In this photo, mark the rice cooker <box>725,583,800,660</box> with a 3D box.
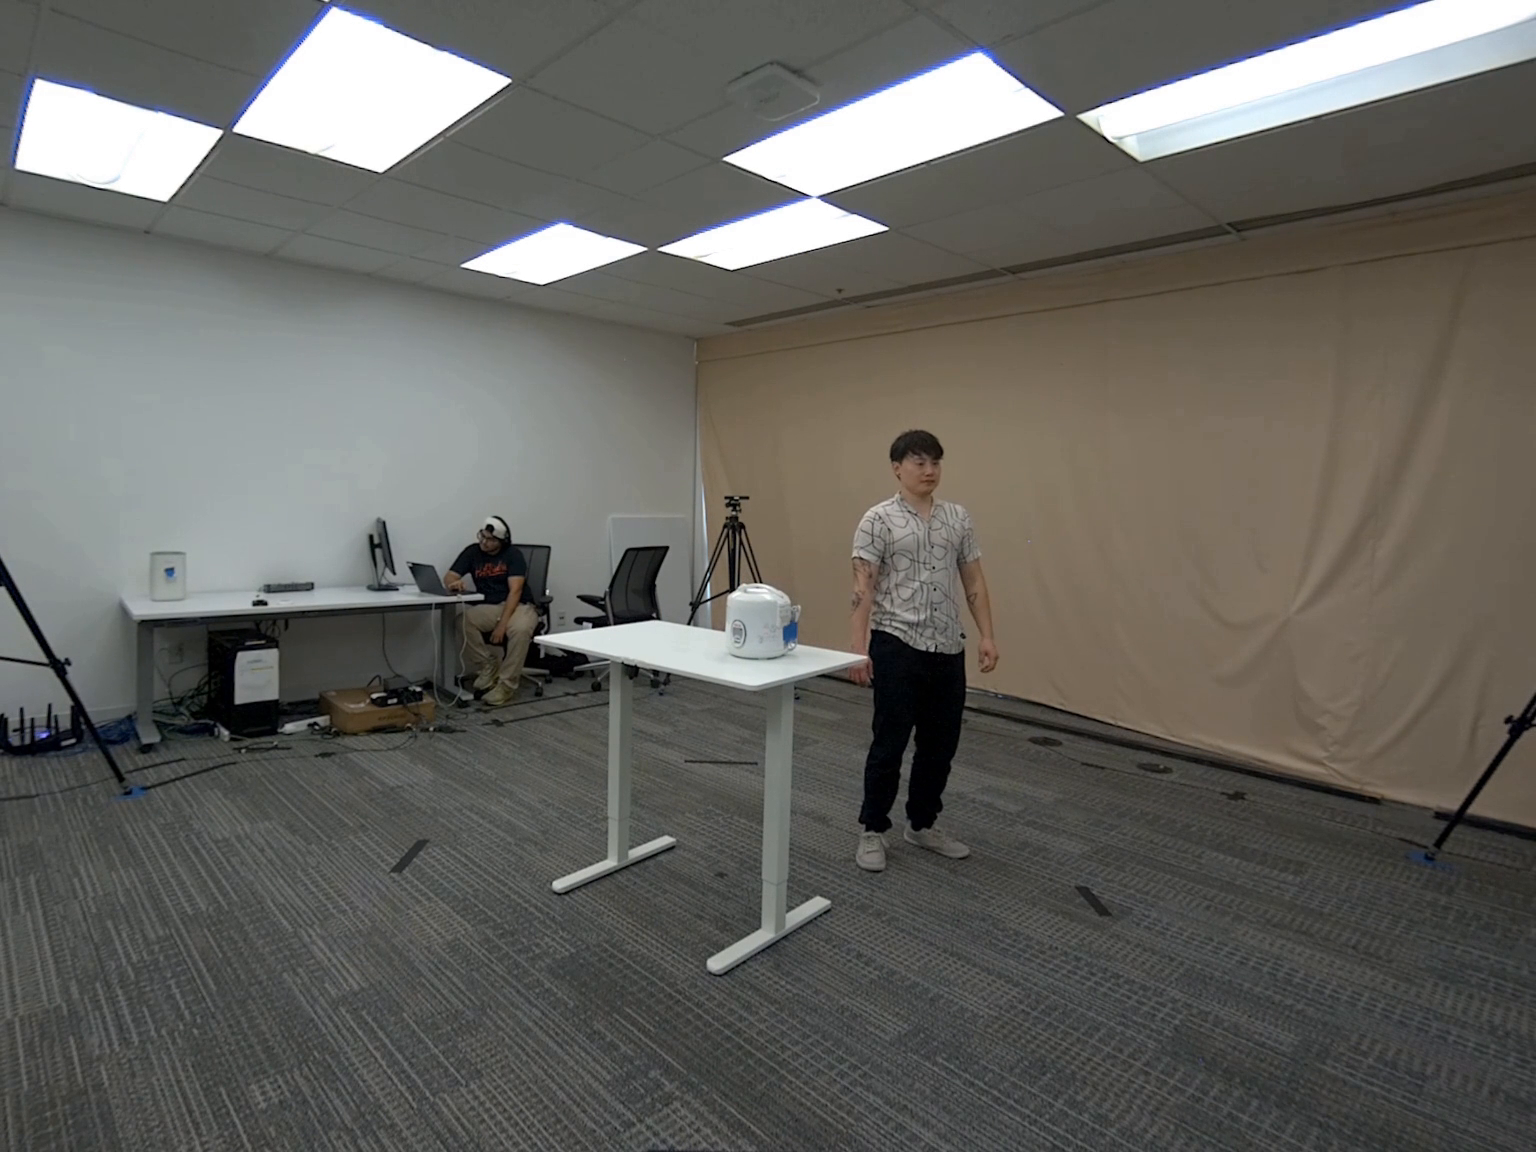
[{"bbox_3d":[-0.034,0.142,2.730,0.226,0.232,0.212,4,4,35],"label":"rice cooker"}]
